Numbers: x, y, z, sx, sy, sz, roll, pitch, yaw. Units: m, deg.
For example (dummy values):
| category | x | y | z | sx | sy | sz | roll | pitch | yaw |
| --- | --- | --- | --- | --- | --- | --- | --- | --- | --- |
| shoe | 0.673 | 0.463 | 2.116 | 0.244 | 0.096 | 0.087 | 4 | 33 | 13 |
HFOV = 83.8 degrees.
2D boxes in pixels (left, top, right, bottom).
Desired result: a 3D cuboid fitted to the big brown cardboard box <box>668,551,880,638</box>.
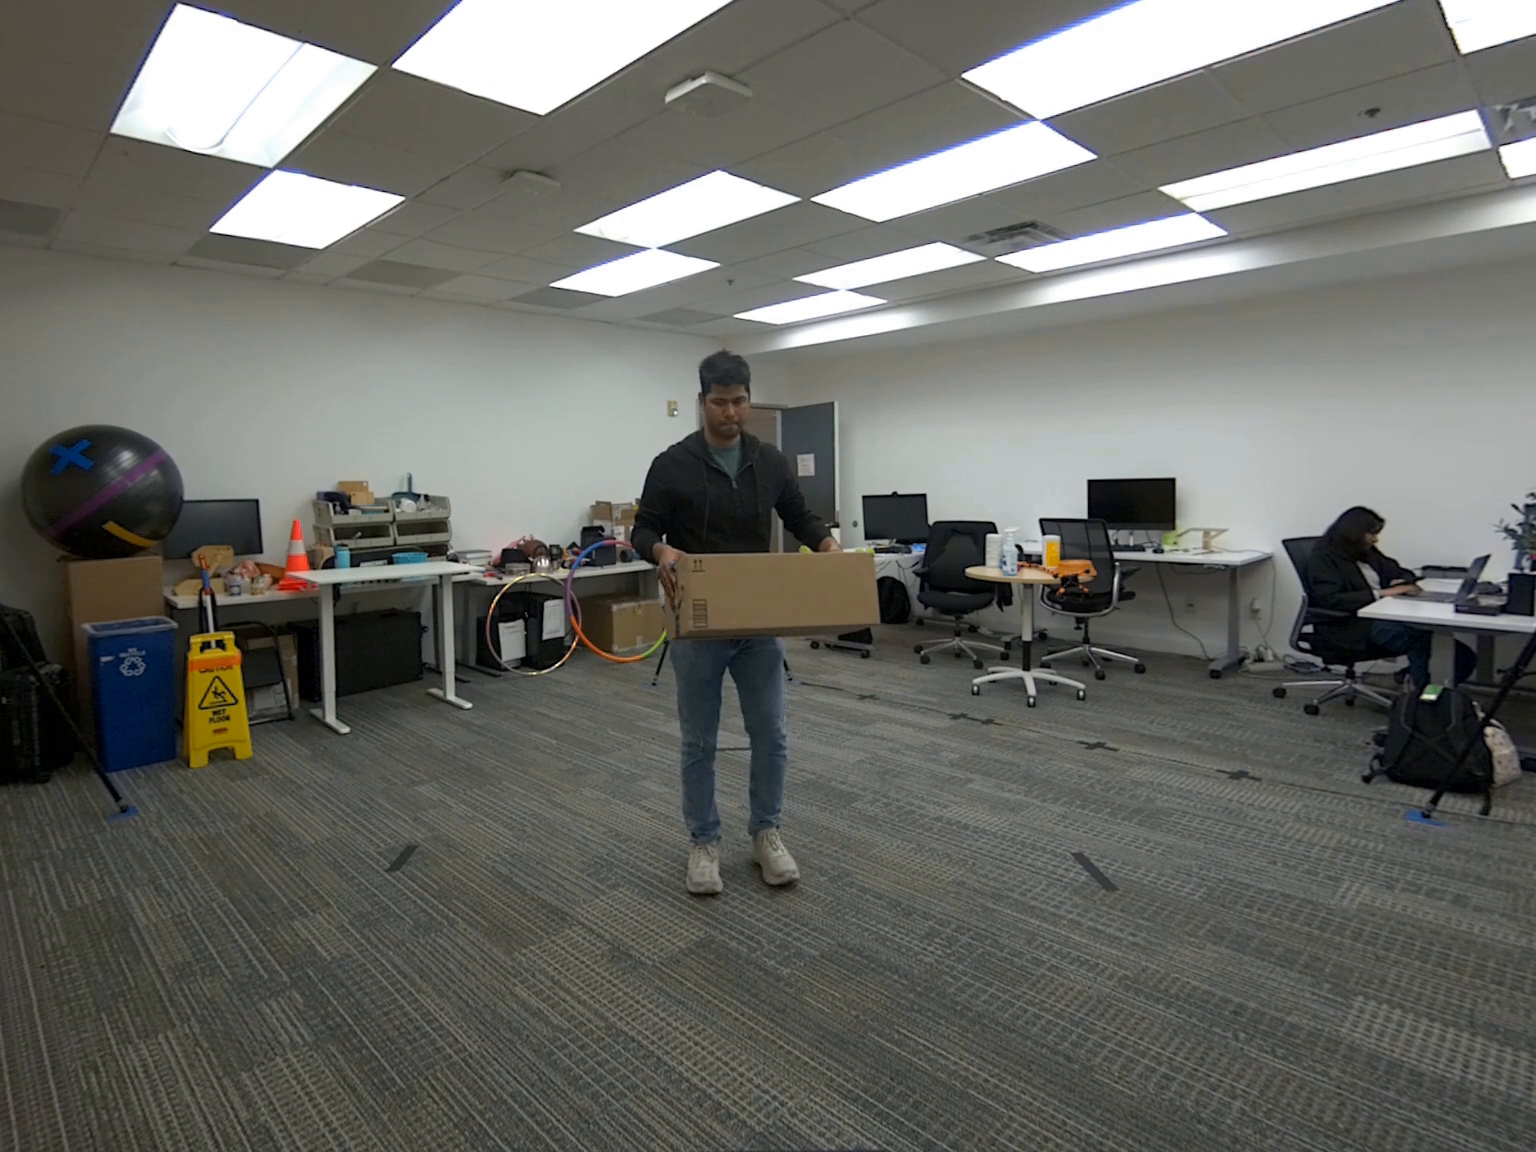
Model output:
| category | x | y | z | sx | sy | sz | roll | pitch | yaw |
| --- | --- | --- | --- | --- | --- | --- | --- | --- | --- |
| big brown cardboard box | -0.011 | 0.065 | 2.621 | 0.580 | 0.235 | 0.420 | 0 | -8 | -15 |
